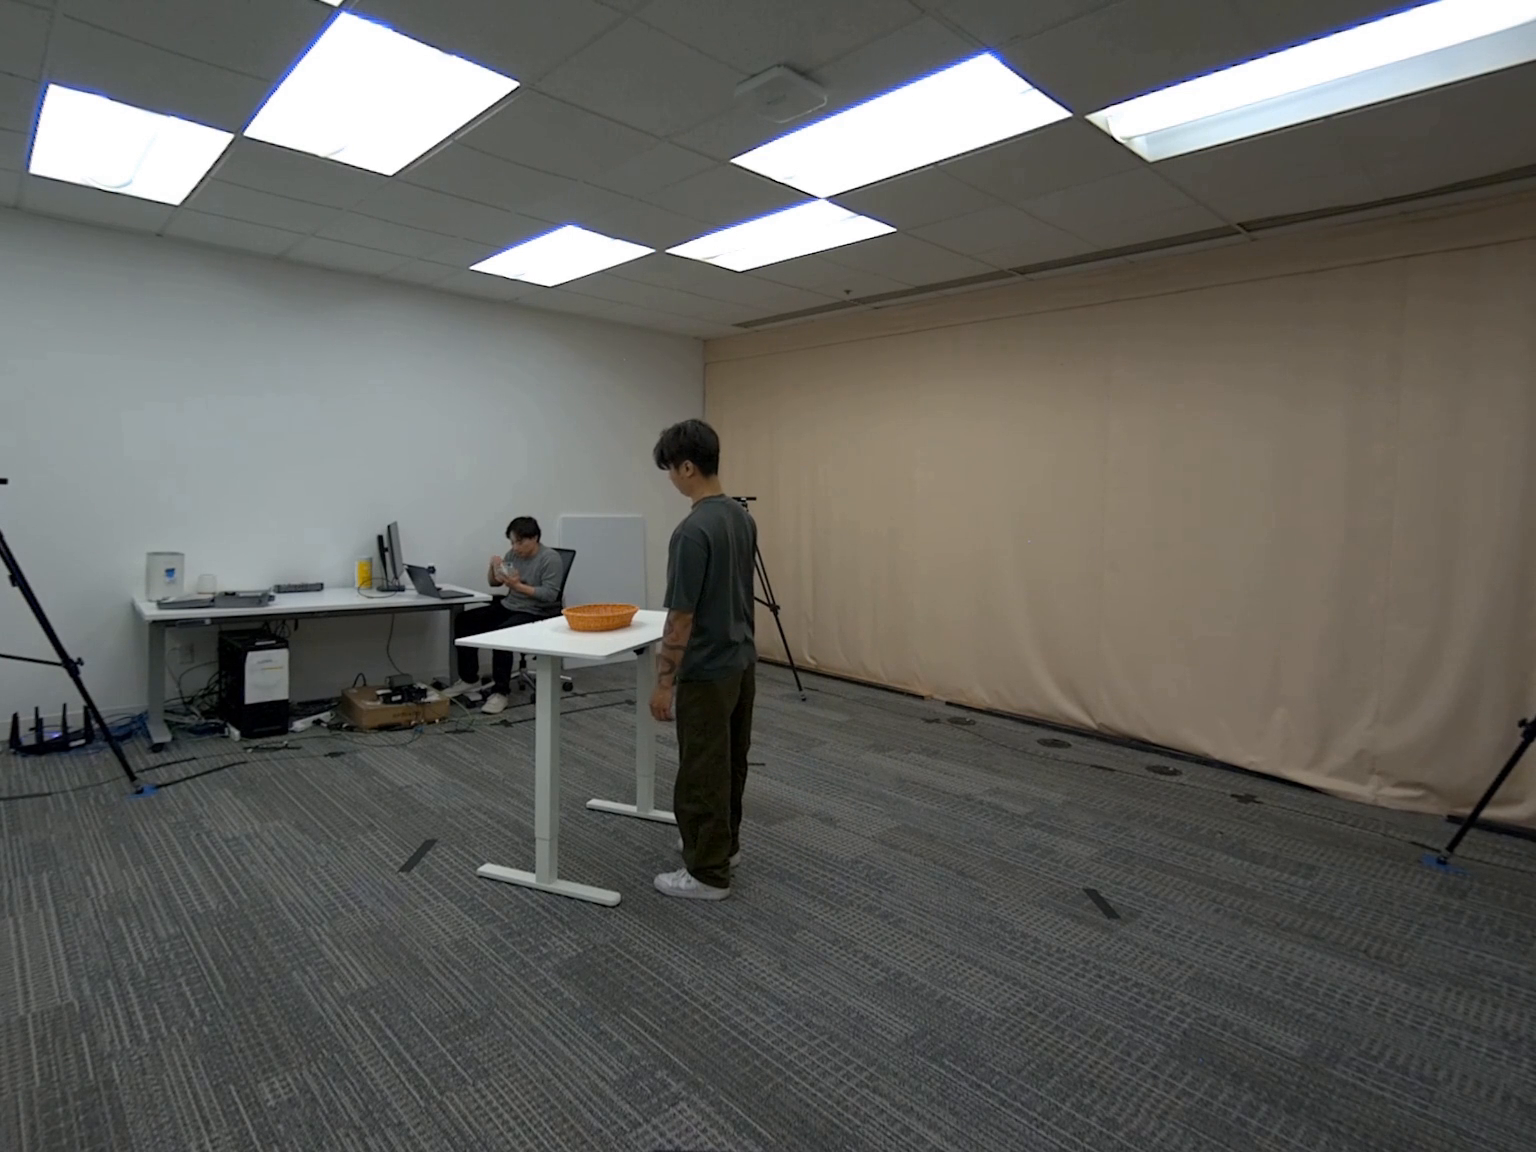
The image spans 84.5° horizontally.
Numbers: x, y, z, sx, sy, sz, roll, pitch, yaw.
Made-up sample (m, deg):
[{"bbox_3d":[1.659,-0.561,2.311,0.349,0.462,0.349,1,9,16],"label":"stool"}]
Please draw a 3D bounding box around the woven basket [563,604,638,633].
[{"bbox_3d":[-0.661,0.166,3.279,0.257,0.073,0.345,3,6,23],"label":"woven basket"}]
